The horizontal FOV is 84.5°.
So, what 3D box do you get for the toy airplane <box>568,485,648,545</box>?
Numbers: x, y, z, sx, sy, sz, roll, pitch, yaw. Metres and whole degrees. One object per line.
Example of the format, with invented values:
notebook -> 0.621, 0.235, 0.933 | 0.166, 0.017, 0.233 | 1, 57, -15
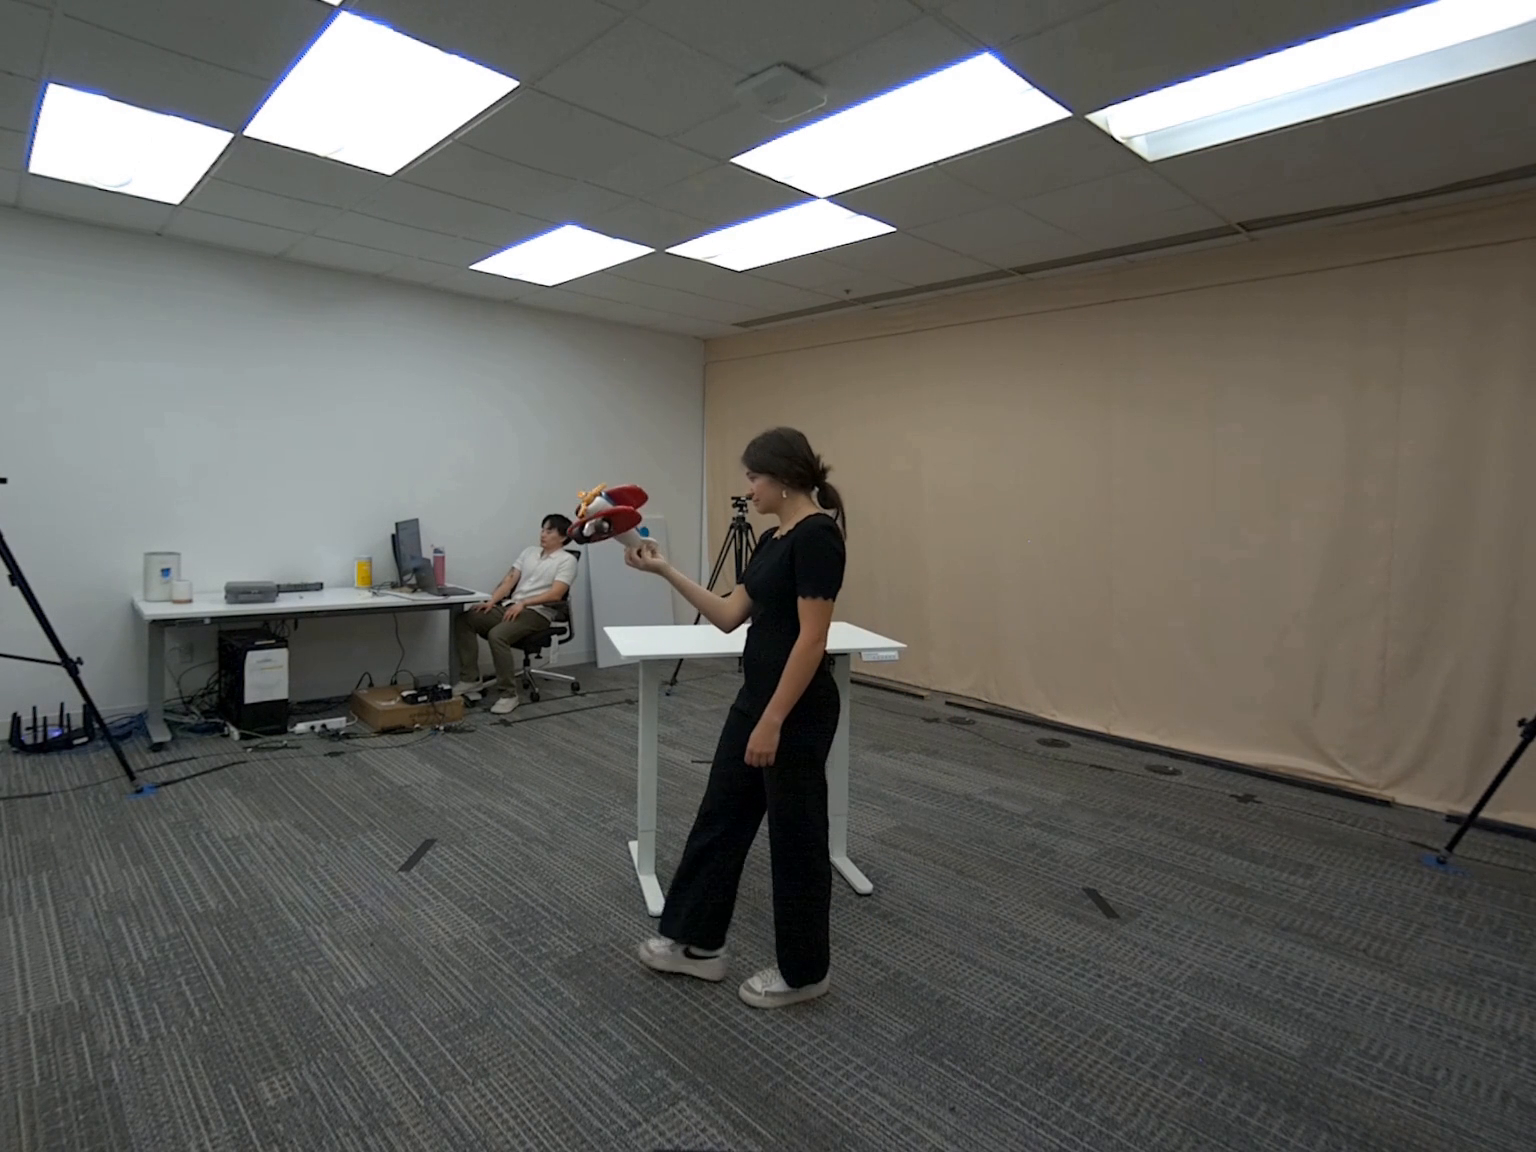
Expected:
toy airplane -> -0.455, -0.135, 2.415 | 0.253, 0.159, 0.253 | -2, -26, 8
